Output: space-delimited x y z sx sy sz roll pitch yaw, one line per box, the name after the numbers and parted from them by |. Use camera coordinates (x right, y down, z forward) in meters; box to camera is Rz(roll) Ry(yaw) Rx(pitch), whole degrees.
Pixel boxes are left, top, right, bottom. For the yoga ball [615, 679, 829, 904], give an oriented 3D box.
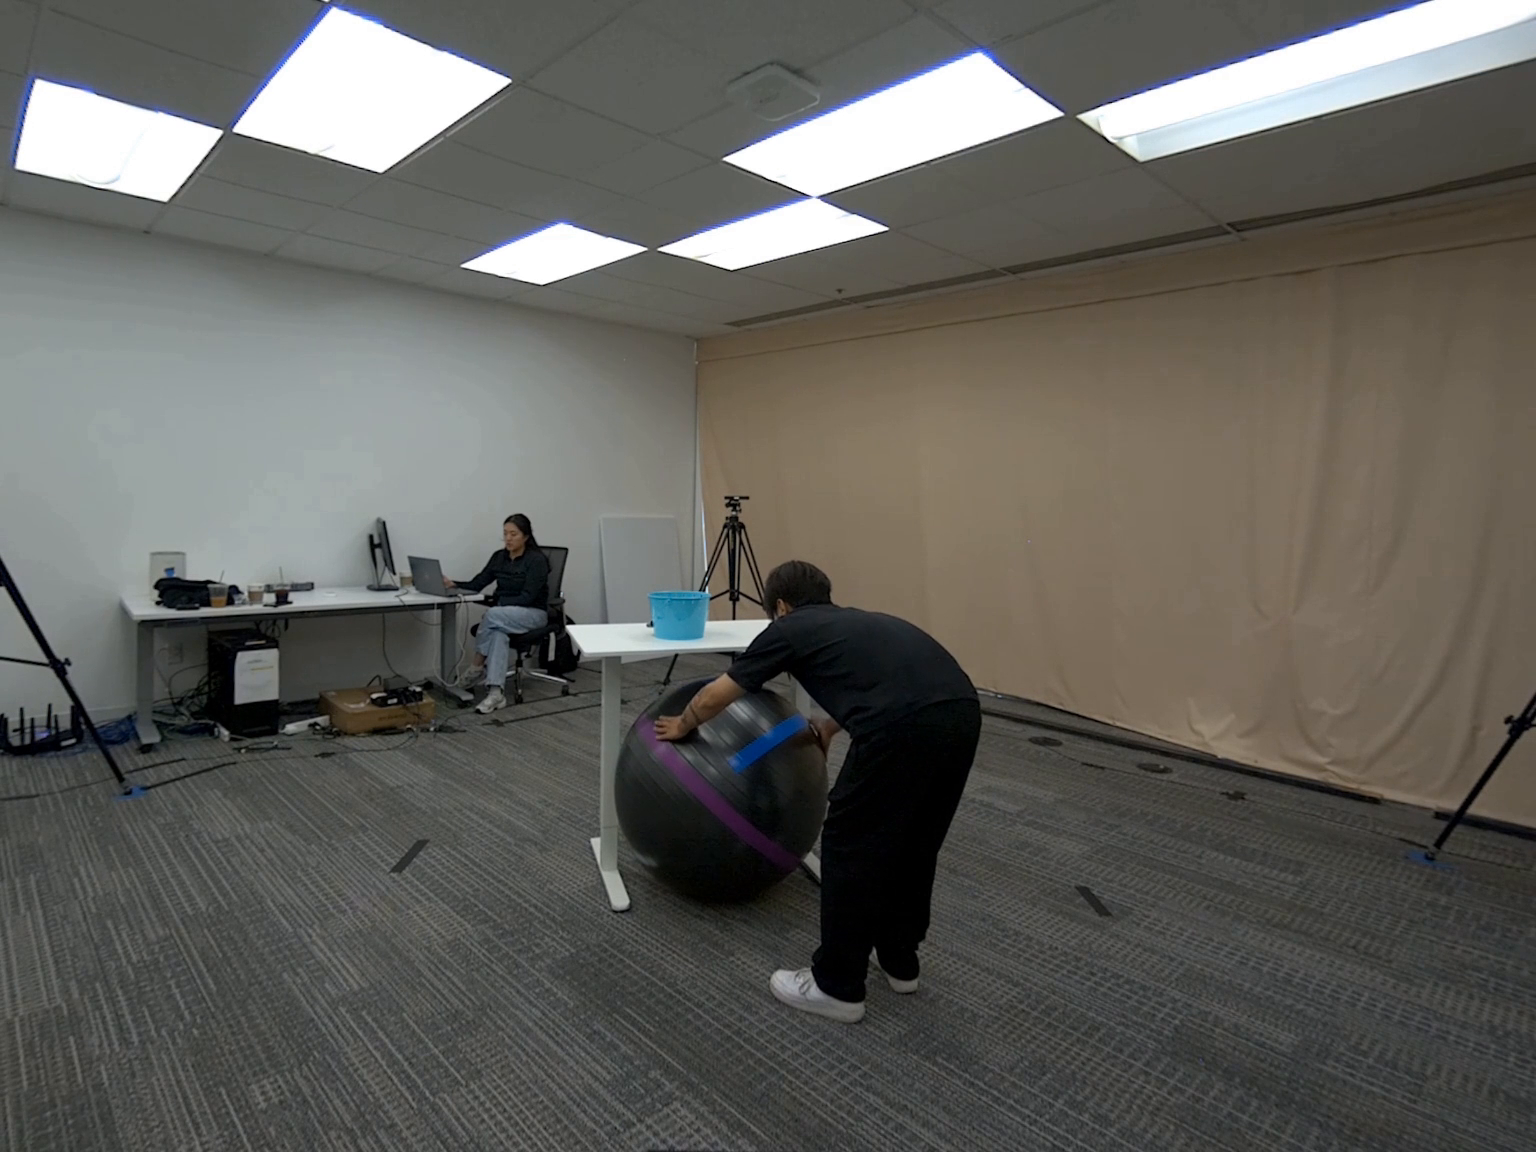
-0.169 0.749 3.005 0.757 0.756 0.761 1 4 -1 | yoga ball
